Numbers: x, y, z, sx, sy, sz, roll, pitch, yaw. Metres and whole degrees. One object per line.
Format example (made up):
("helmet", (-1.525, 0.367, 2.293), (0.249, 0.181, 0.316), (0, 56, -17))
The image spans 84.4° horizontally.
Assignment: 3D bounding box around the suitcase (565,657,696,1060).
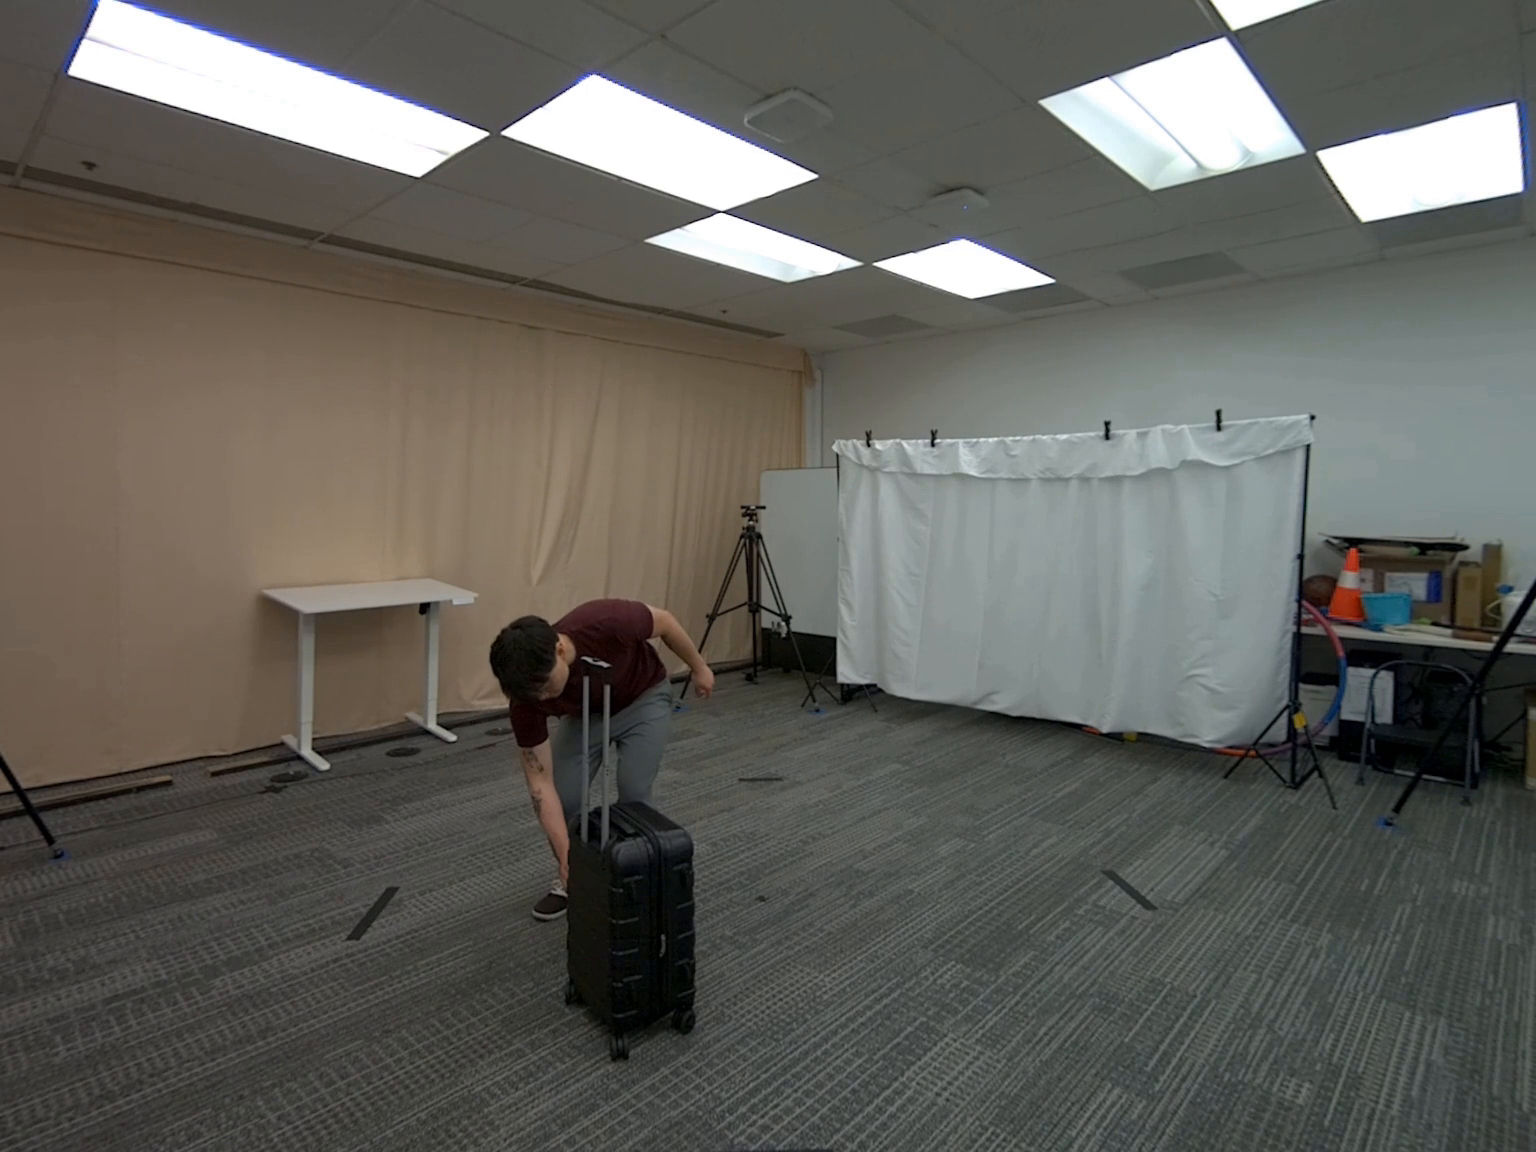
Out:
("suitcase", (-0.371, 0.729, 2.296), (0.249, 0.978, 0.395), (1, 2, -33))
